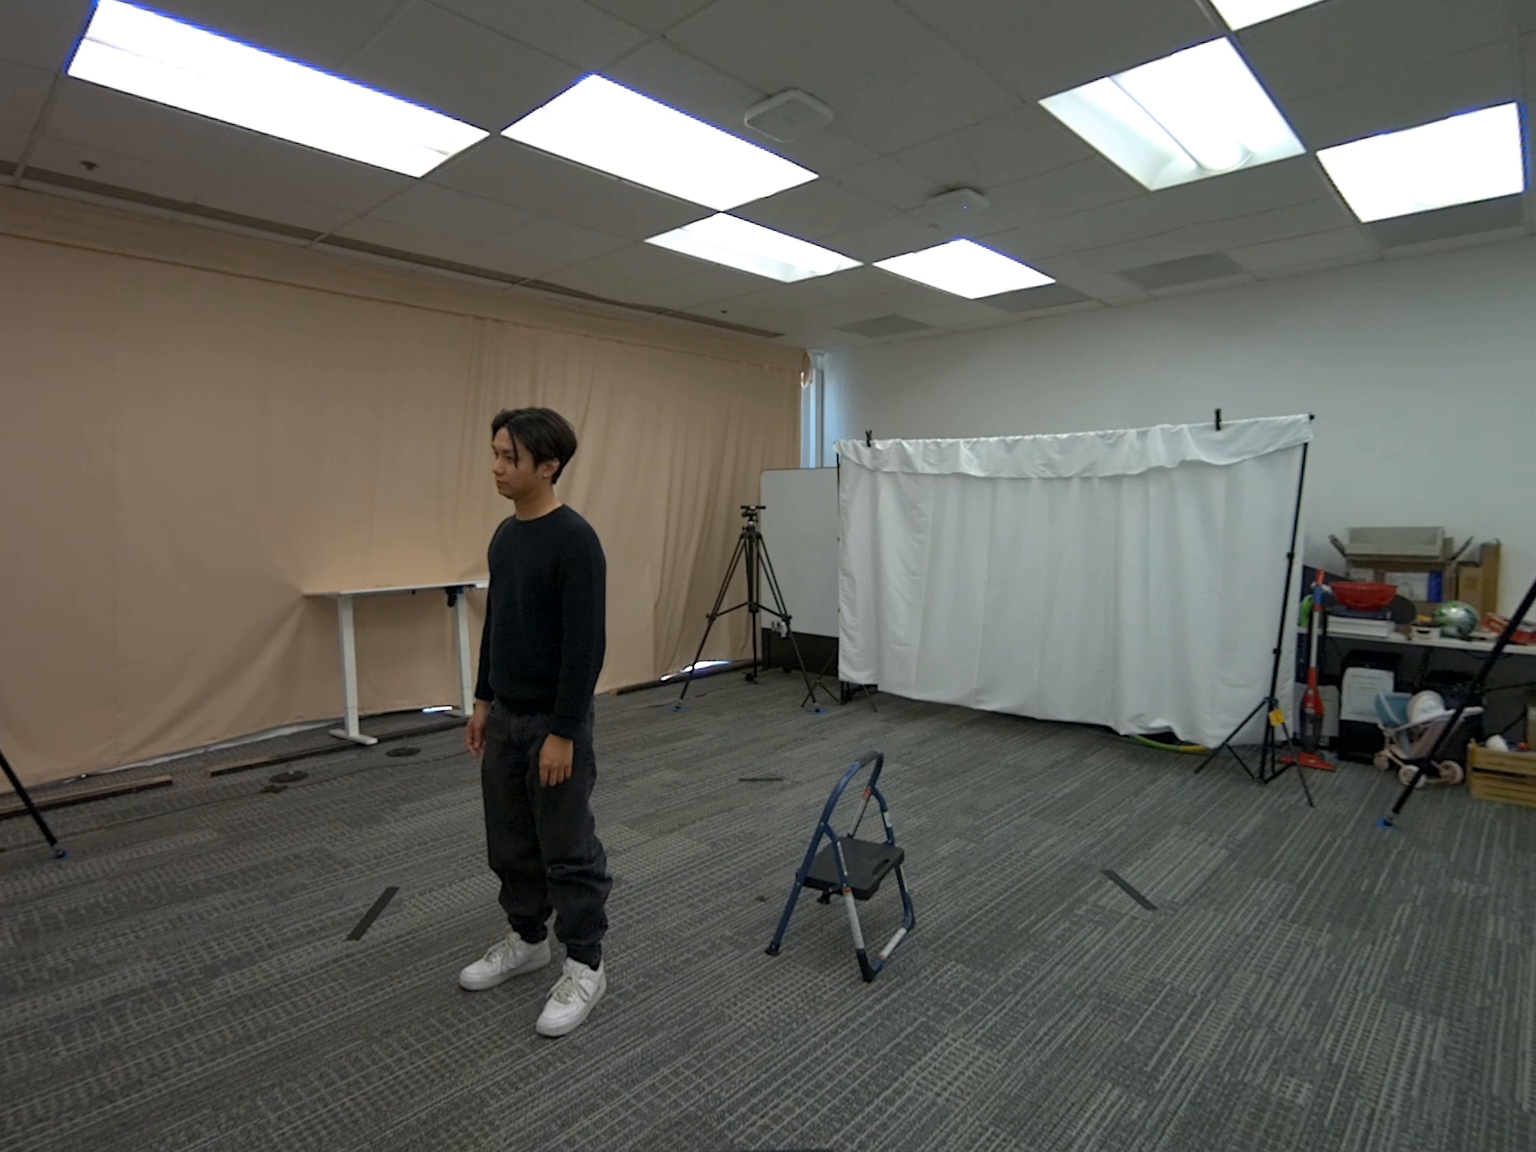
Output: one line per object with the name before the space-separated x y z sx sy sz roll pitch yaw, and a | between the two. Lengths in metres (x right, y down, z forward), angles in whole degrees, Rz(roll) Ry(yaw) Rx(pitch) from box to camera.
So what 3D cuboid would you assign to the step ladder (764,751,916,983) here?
step ladder | 0.244 0.864 2.696 0.359 0.605 0.419 1 4 29
